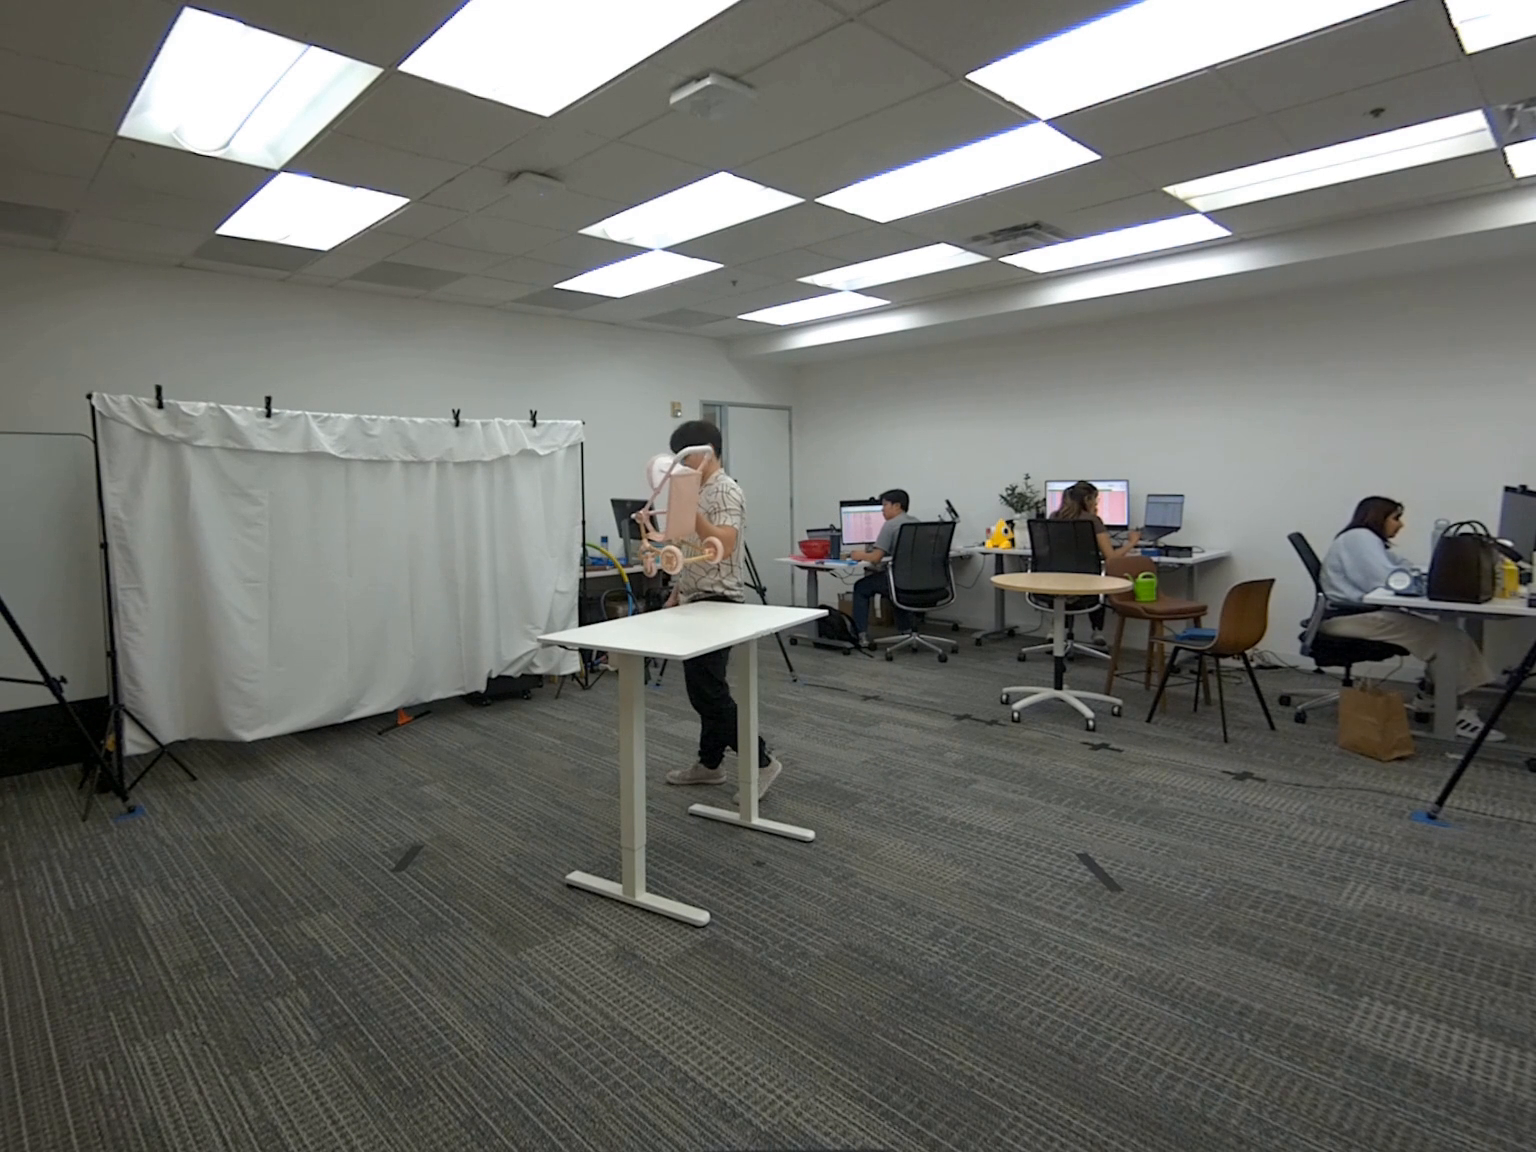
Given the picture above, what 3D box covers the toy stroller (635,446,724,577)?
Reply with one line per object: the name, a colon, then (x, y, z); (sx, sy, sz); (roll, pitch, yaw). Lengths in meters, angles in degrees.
toy stroller: (-0.386, -0.243, 3.398); (0.352, 0.530, 0.275); (5, 12, 42)
